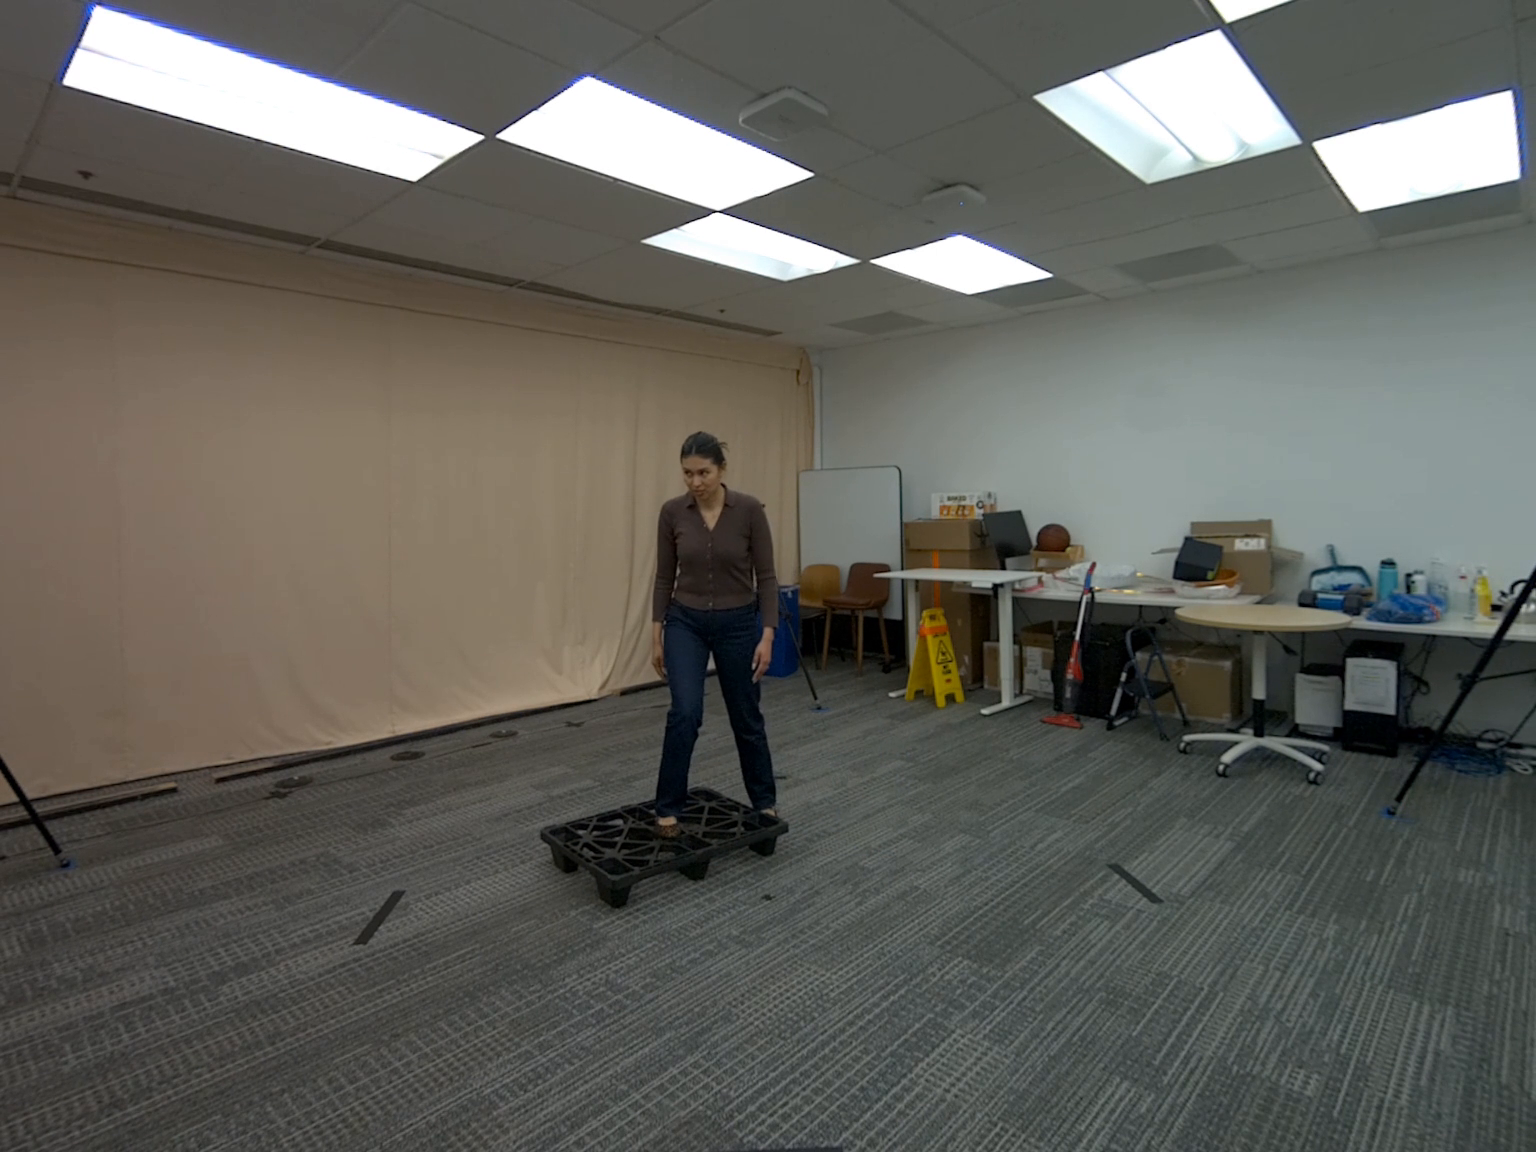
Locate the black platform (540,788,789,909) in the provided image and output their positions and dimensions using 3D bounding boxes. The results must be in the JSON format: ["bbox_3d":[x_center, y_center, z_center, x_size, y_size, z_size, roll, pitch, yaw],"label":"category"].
[{"bbox_3d":[-0.401,1.053,3.323,0.782,0.143,0.625,-5,7,-38],"label":"black platform"}]
